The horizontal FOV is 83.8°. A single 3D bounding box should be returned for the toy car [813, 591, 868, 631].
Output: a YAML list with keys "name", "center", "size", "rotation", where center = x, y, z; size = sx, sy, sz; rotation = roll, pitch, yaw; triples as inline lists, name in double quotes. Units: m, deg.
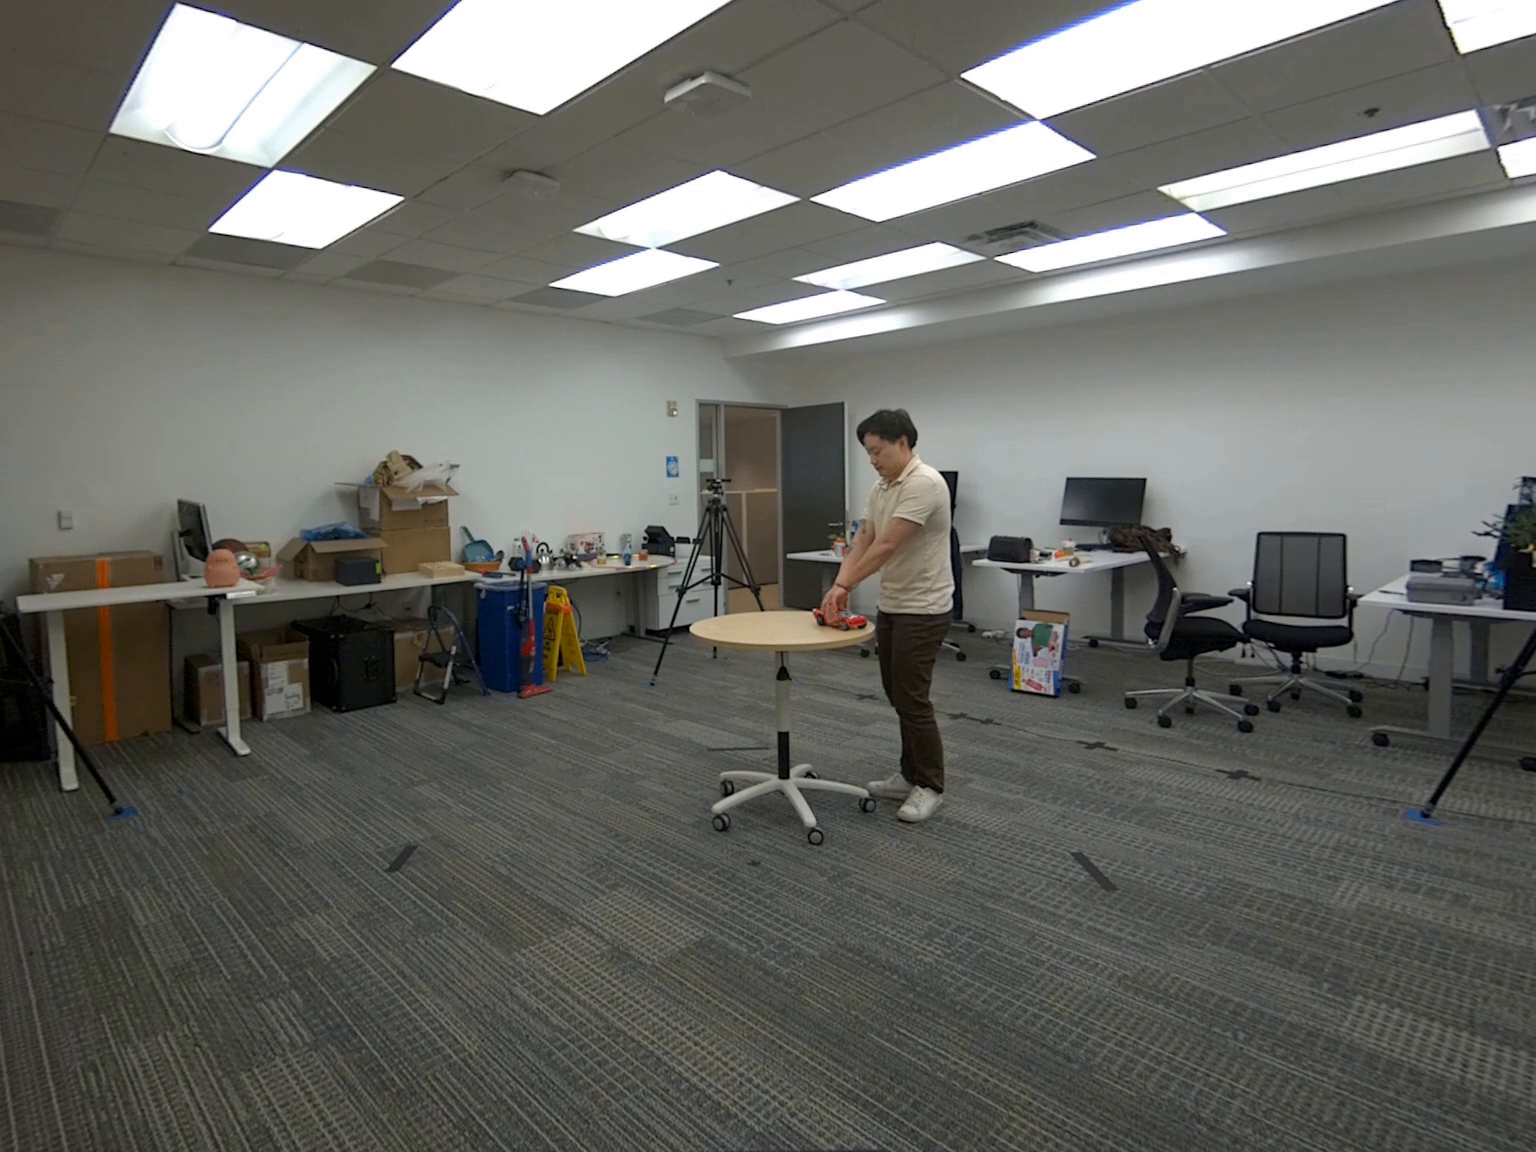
- name: "toy car"
  center: [0.291, 0.178, 3.528]
  size: [0.127, 0.082, 0.264]
  rotation: [-5, 17, -35]
